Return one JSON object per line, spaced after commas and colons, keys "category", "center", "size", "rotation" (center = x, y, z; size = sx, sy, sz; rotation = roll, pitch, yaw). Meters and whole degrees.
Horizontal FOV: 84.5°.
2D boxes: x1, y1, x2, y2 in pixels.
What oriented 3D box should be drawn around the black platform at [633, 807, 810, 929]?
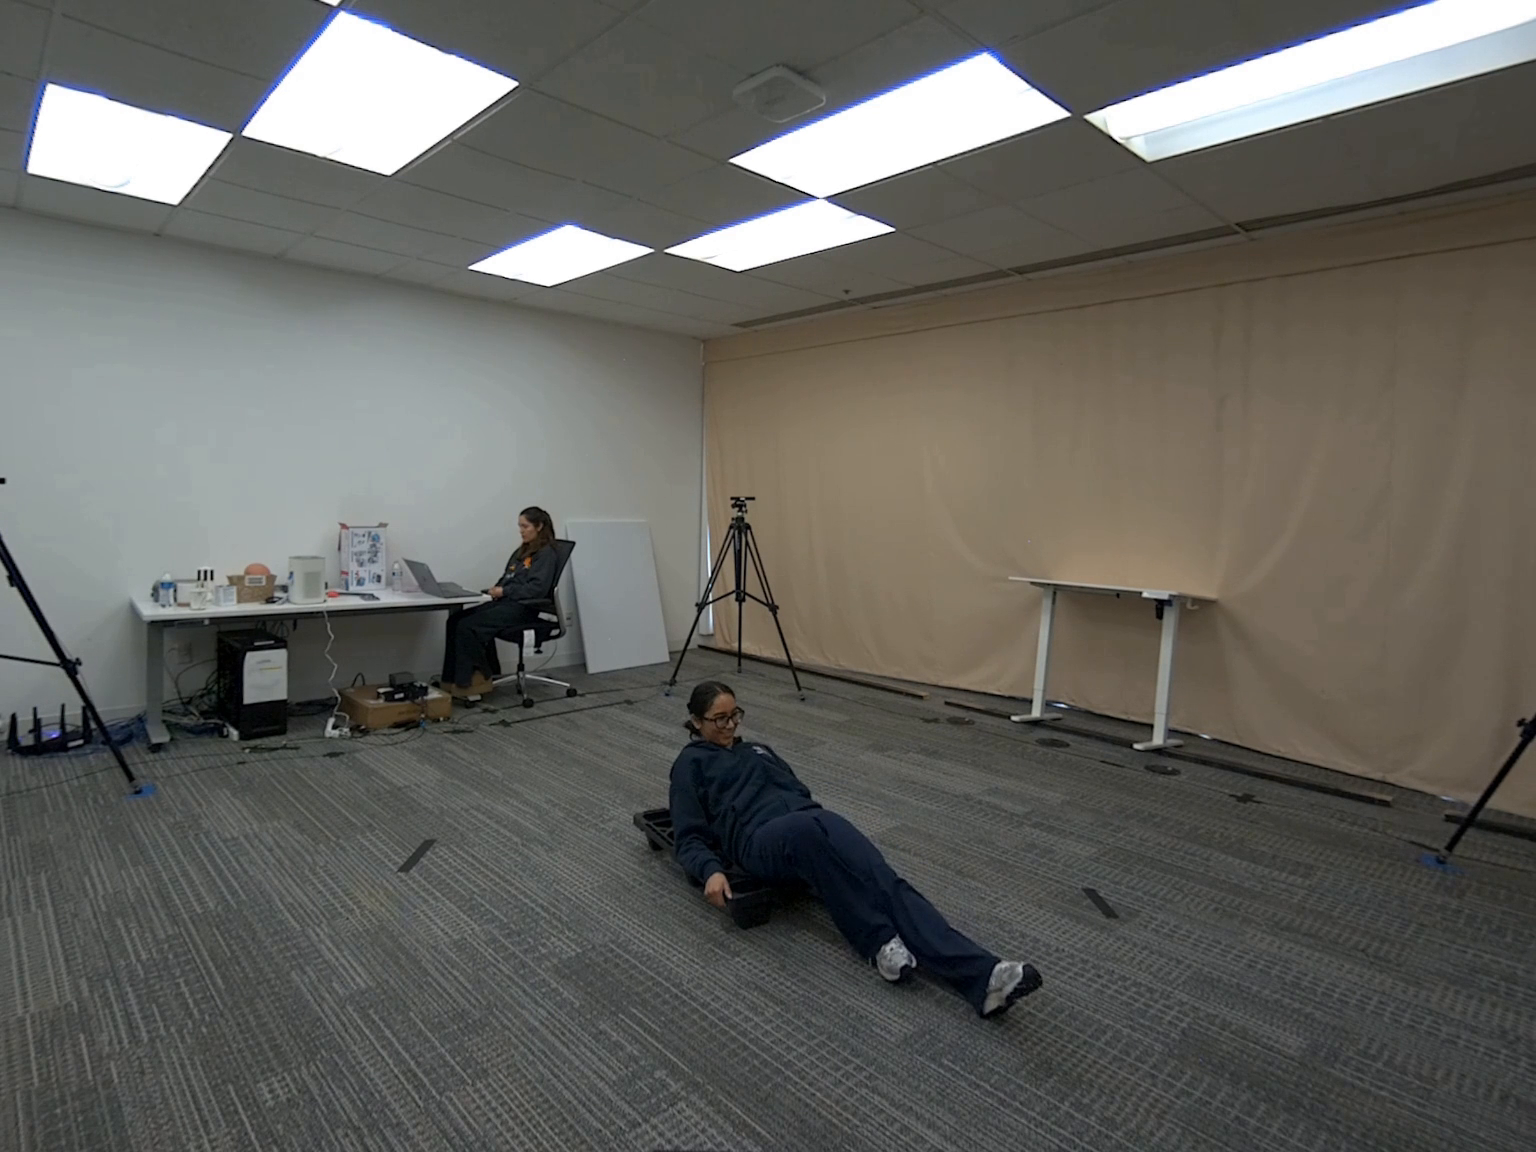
{"category": "black platform", "center": [-0.078, 1.043, 3.149], "size": [0.593, 0.143, 0.825], "rotation": [-1, 7, -30]}
